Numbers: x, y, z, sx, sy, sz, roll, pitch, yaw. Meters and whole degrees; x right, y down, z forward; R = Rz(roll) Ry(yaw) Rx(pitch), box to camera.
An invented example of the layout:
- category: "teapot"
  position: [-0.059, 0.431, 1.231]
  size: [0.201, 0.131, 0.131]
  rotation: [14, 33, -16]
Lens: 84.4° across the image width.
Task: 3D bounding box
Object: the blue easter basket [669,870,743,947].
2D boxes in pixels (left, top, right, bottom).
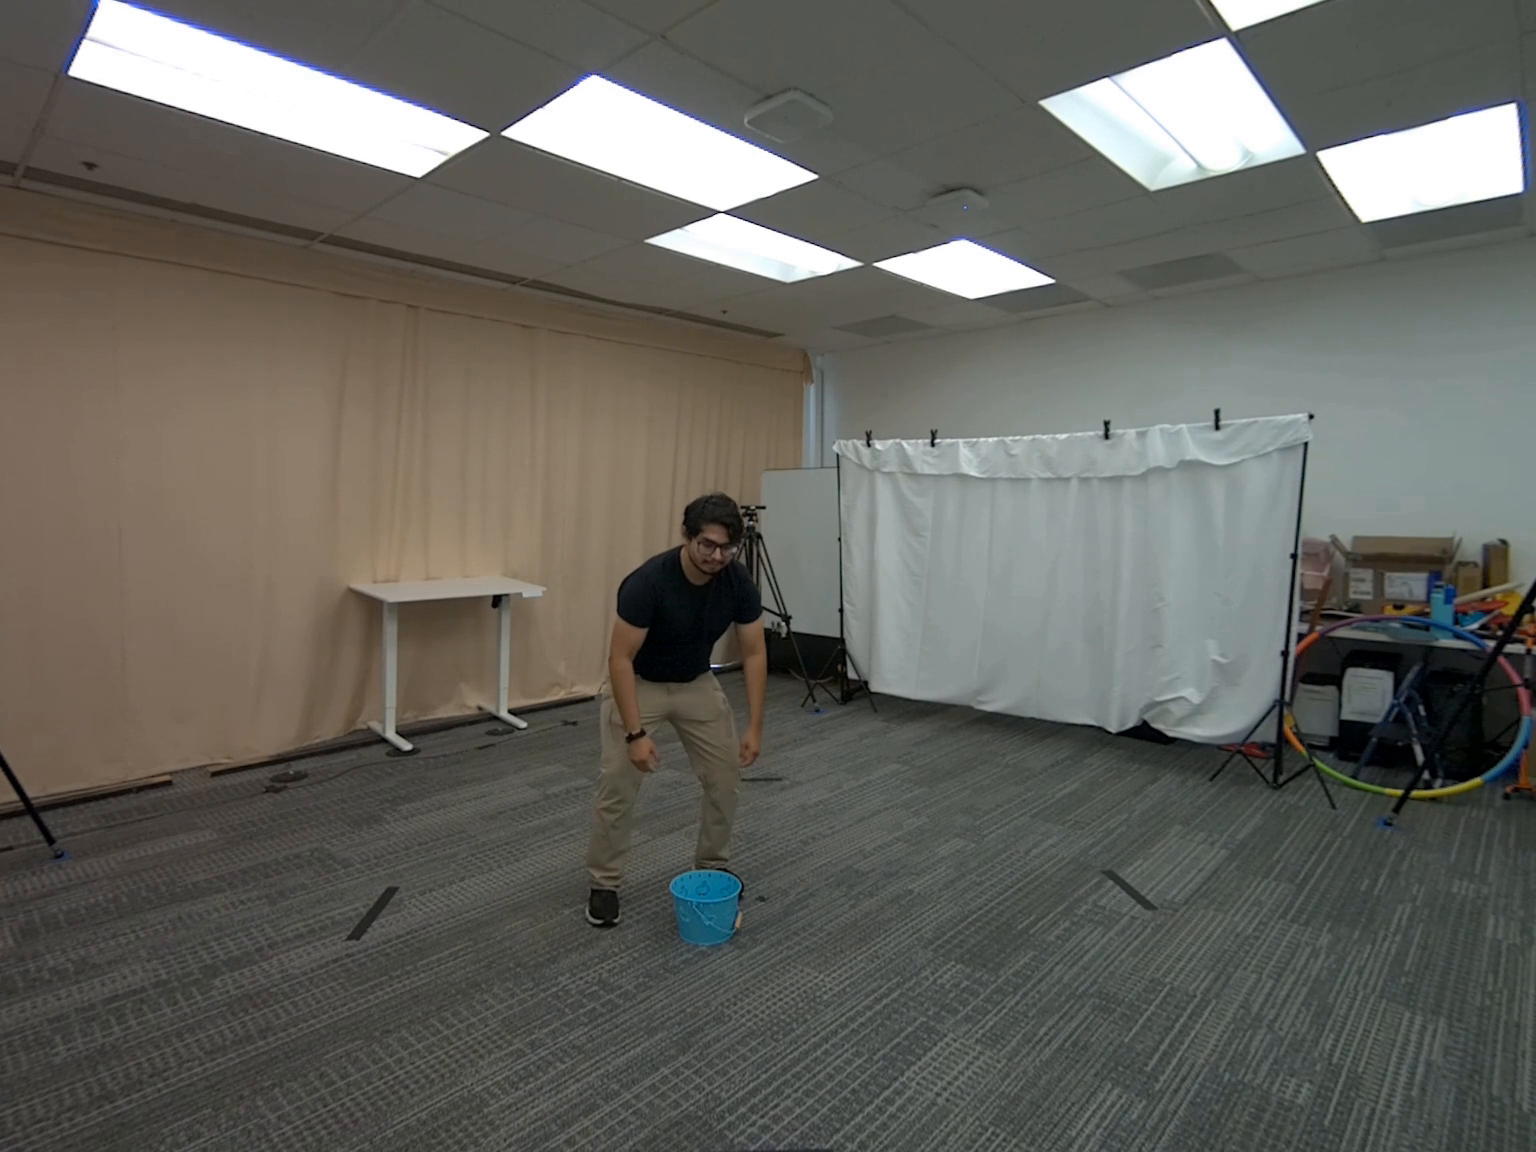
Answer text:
- category: "blue easter basket"
  position: [-0.197, 1.080, 2.761]
  size: [0.243, 0.155, 0.244]
  rotation: [0, 5, -2]
